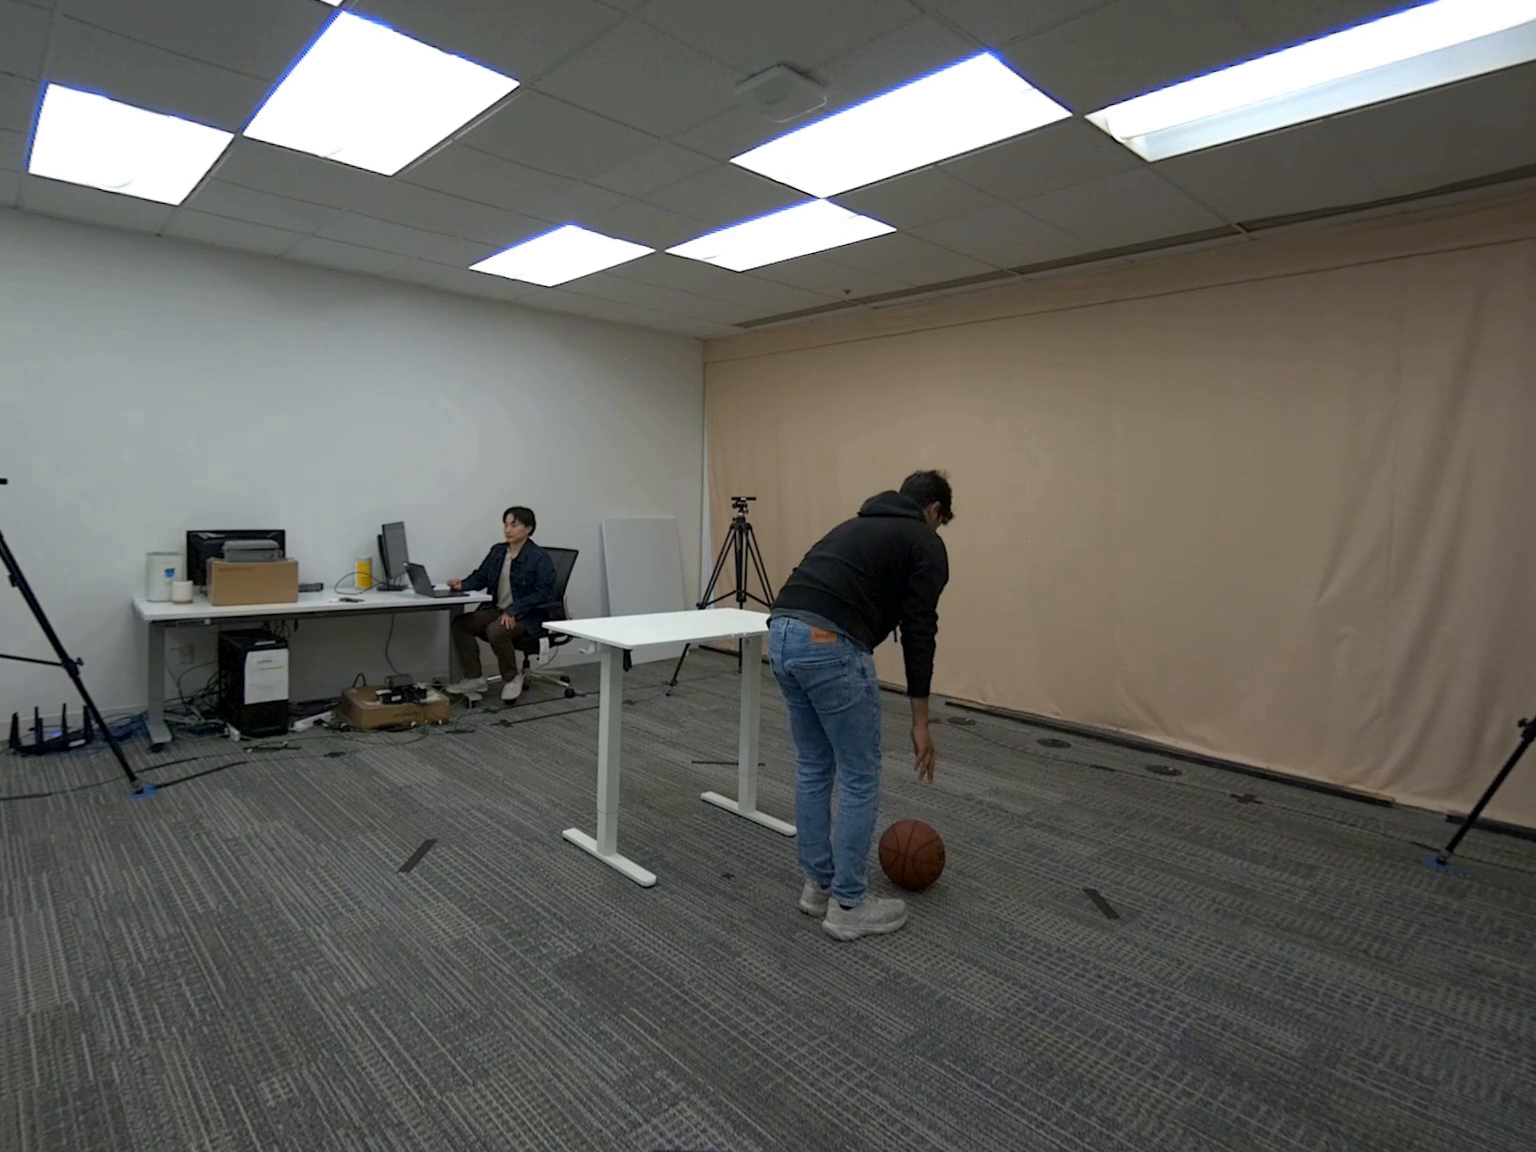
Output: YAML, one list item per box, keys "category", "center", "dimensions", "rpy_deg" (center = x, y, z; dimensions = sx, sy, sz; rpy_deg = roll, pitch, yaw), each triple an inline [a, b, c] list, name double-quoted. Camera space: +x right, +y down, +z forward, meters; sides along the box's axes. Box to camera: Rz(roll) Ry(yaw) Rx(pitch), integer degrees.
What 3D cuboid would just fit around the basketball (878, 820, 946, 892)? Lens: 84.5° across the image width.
- category: "basketball"
  center: [0.520, 1.008, 3.048]
  dimensions: [0.236, 0.235, 0.237]
  rpy_deg: [1, 4, -1]
